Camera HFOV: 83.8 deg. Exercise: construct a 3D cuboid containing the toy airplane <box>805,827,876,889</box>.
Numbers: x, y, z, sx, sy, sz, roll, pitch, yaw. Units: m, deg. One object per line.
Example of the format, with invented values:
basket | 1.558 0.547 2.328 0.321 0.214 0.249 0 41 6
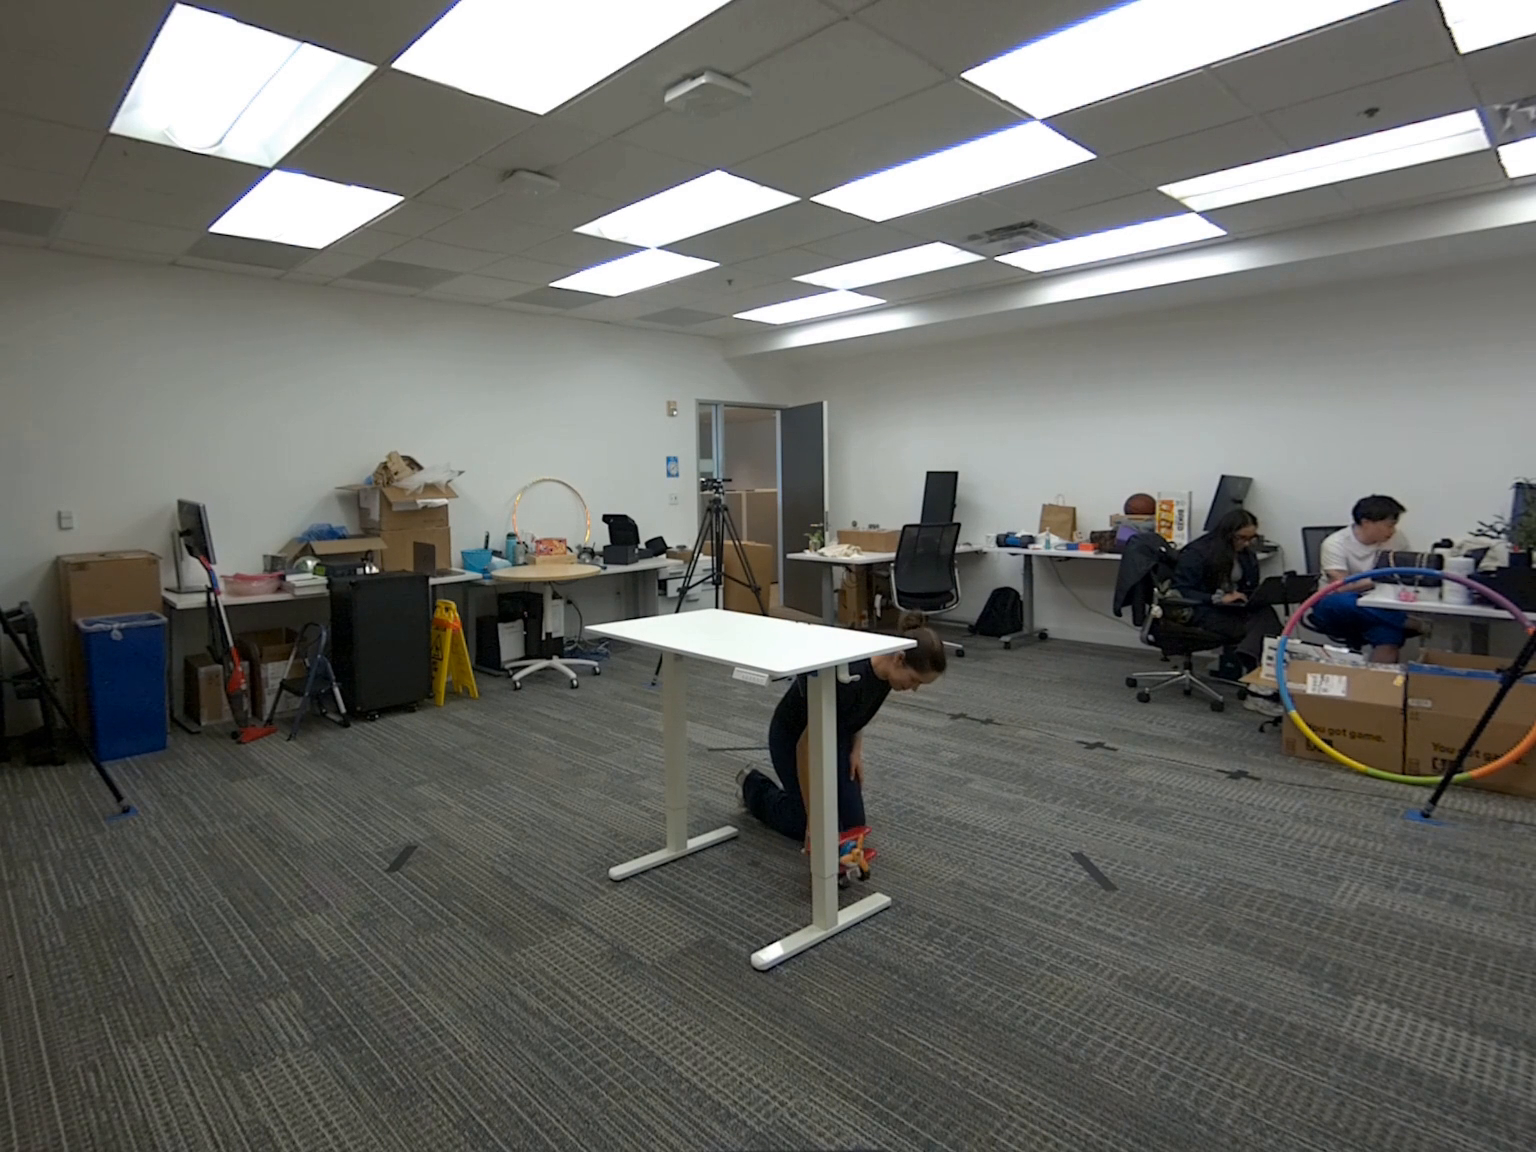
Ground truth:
toy airplane | 0.226 0.940 2.925 0.266 0.155 0.247 -1 10 31
